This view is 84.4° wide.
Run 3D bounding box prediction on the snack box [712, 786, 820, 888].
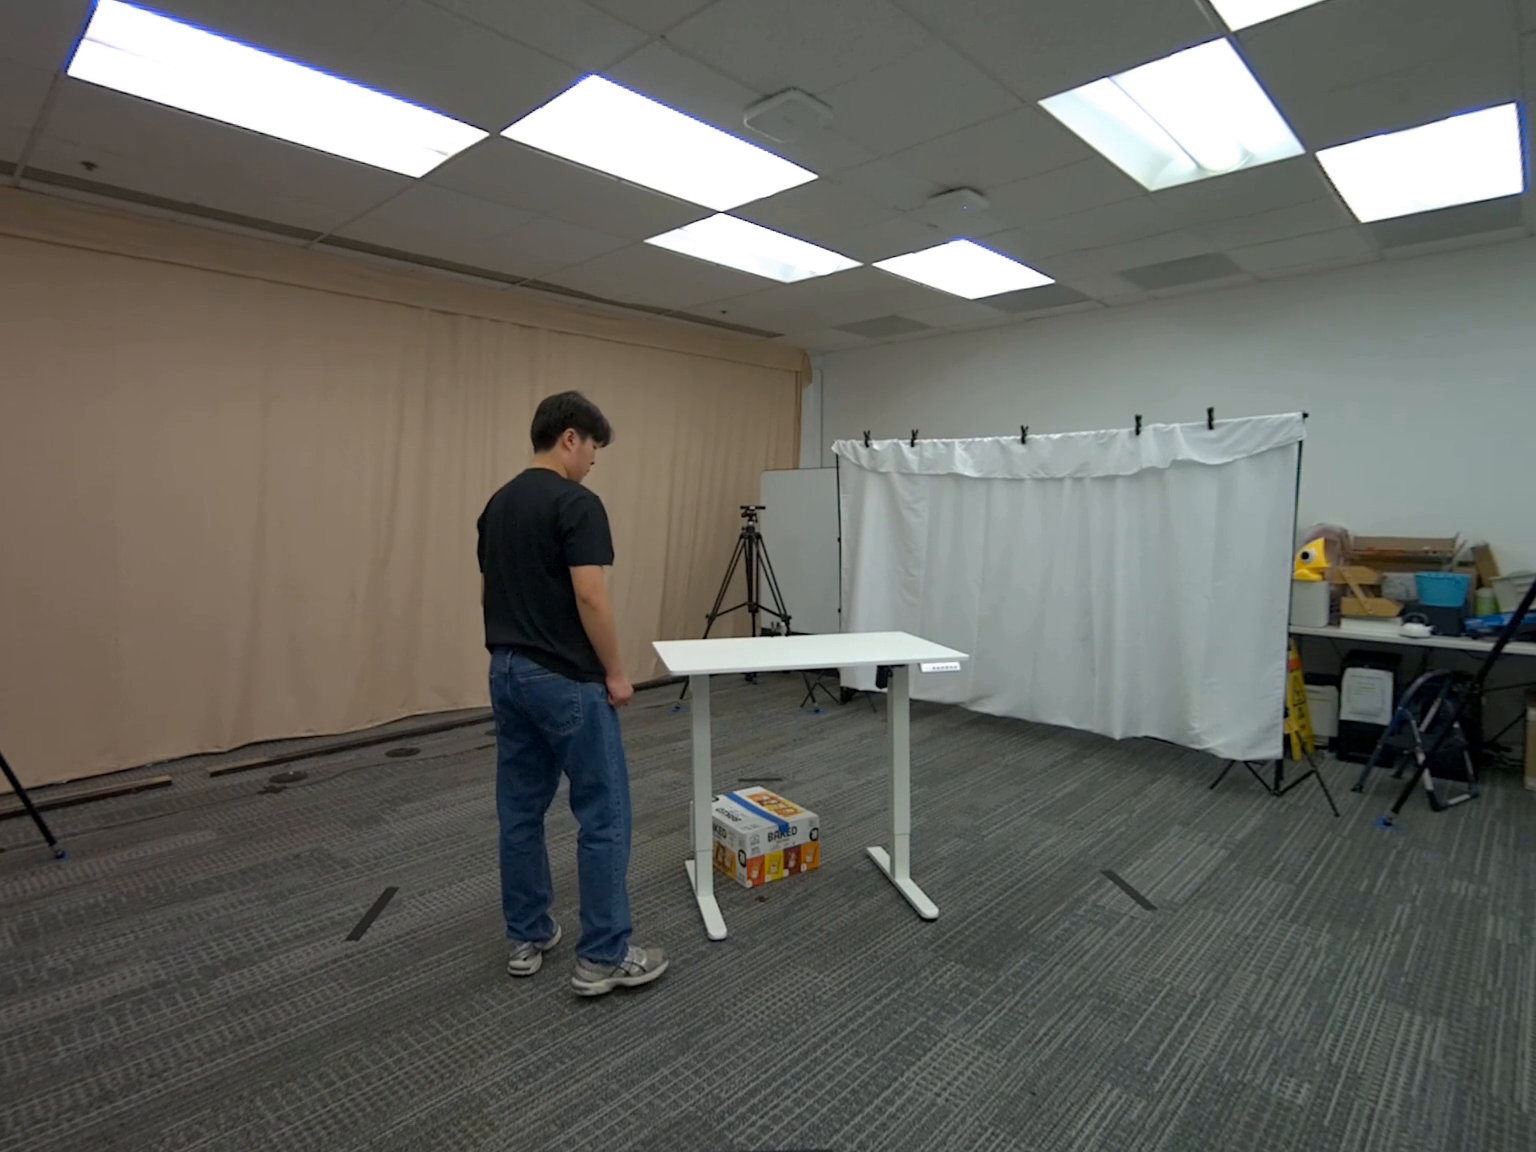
[{"bbox_3d":[-0.058,1.015,3.313,0.331,0.205,0.418,-3,6,-33],"label":"snack box"}]
